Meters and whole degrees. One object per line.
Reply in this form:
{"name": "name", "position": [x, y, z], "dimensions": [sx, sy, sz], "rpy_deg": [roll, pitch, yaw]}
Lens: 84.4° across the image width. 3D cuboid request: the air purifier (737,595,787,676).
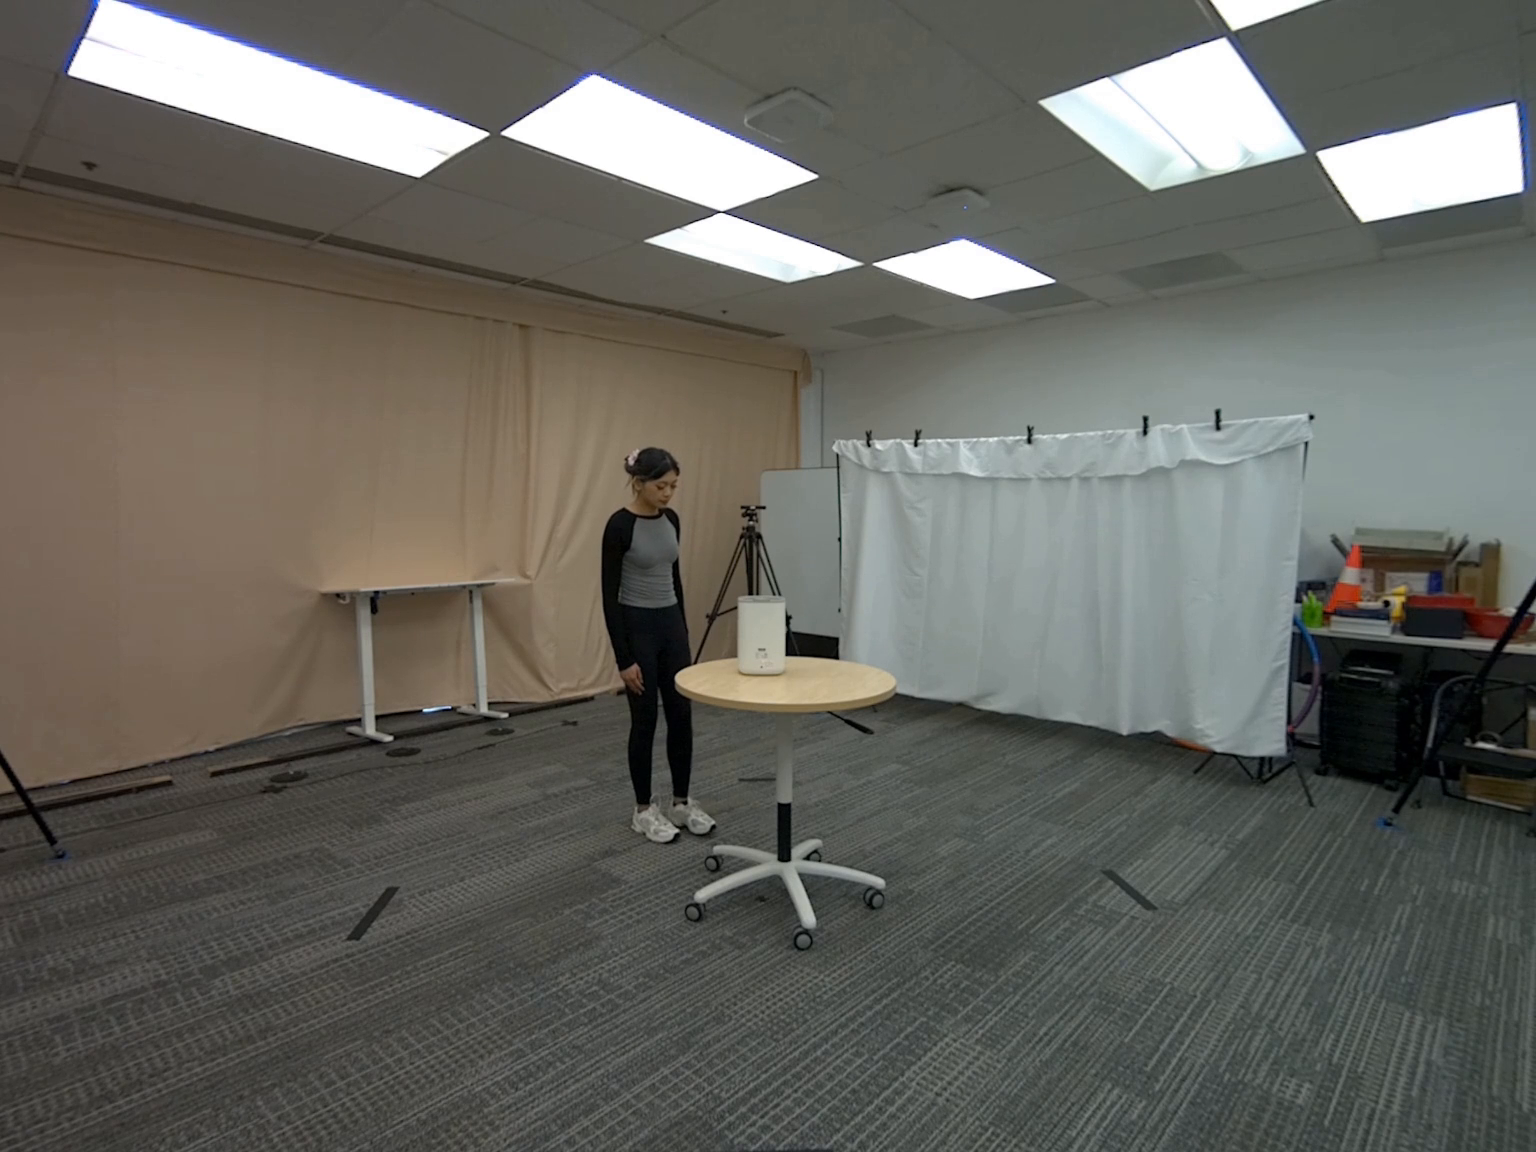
{"name": "air purifier", "position": [-0.018, 0.212, 3.020], "dimensions": [0.171, 0.265, 0.172], "rpy_deg": [1, 2, -1]}
